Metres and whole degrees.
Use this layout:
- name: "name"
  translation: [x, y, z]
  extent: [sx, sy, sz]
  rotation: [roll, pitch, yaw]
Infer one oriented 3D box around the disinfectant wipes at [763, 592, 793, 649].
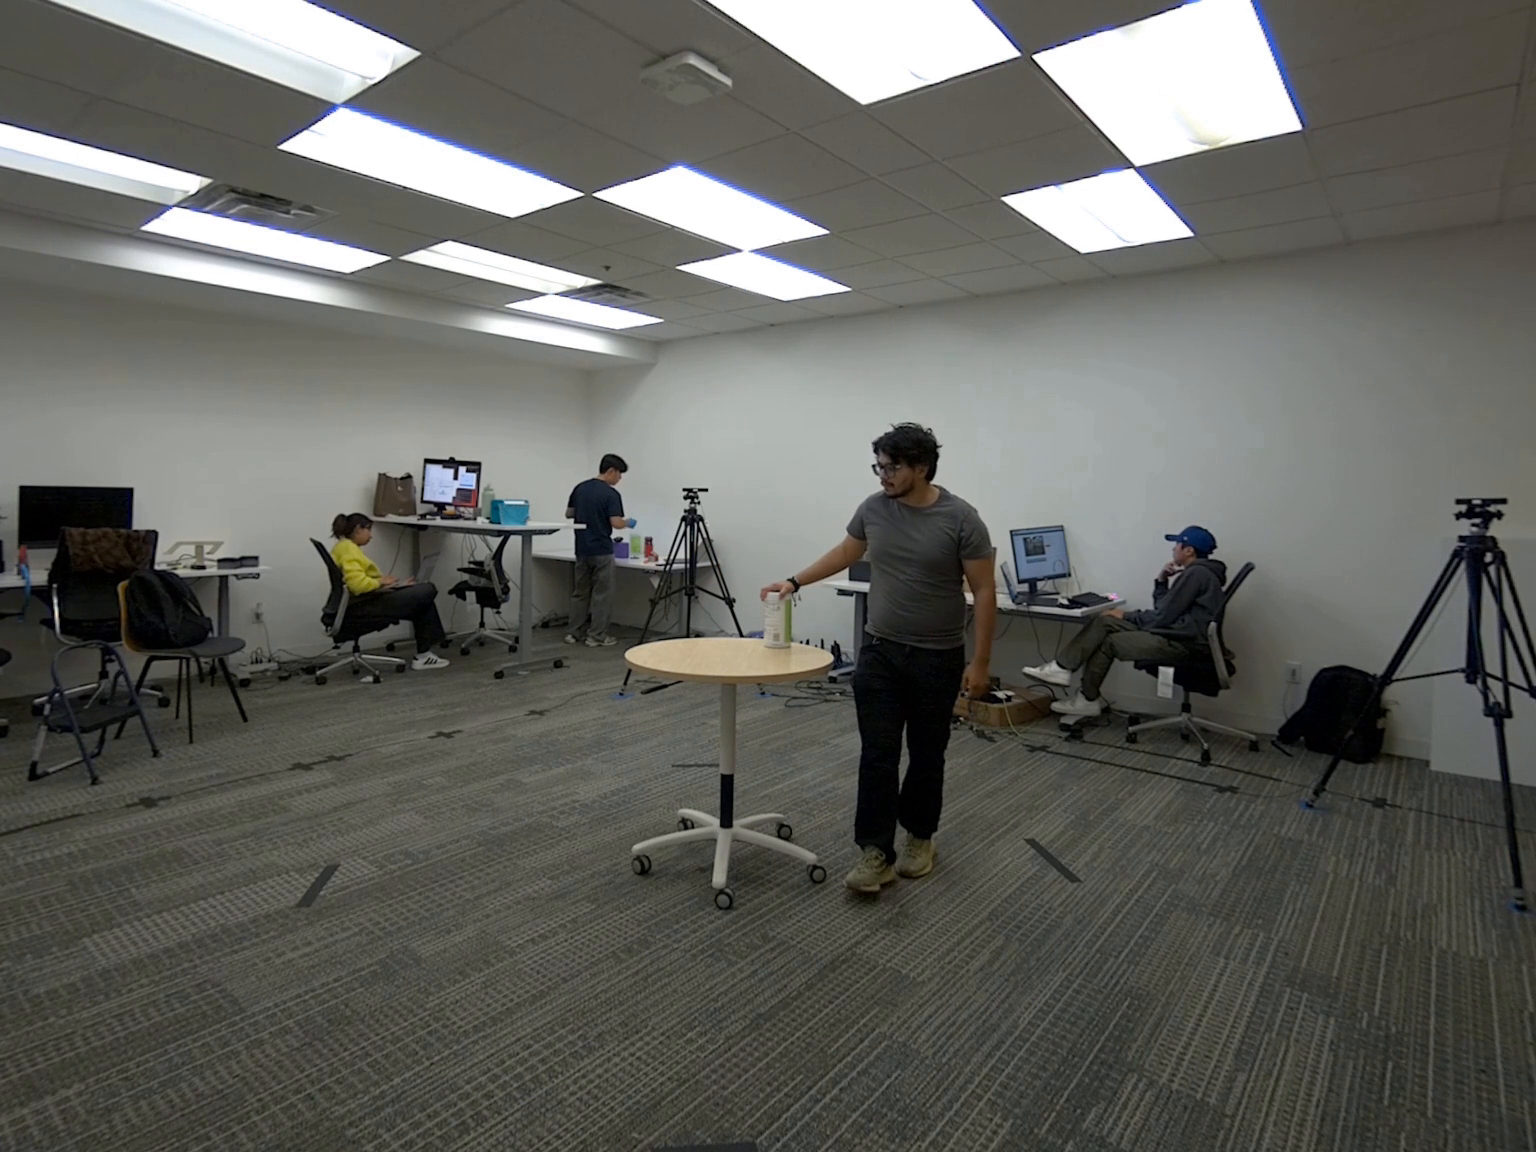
- name: "disinfectant wipes"
  translation: [0.030, 0.165, 3.322]
  extent: [0.118, 0.217, 0.118]
  rotation: [0, 2, -2]
